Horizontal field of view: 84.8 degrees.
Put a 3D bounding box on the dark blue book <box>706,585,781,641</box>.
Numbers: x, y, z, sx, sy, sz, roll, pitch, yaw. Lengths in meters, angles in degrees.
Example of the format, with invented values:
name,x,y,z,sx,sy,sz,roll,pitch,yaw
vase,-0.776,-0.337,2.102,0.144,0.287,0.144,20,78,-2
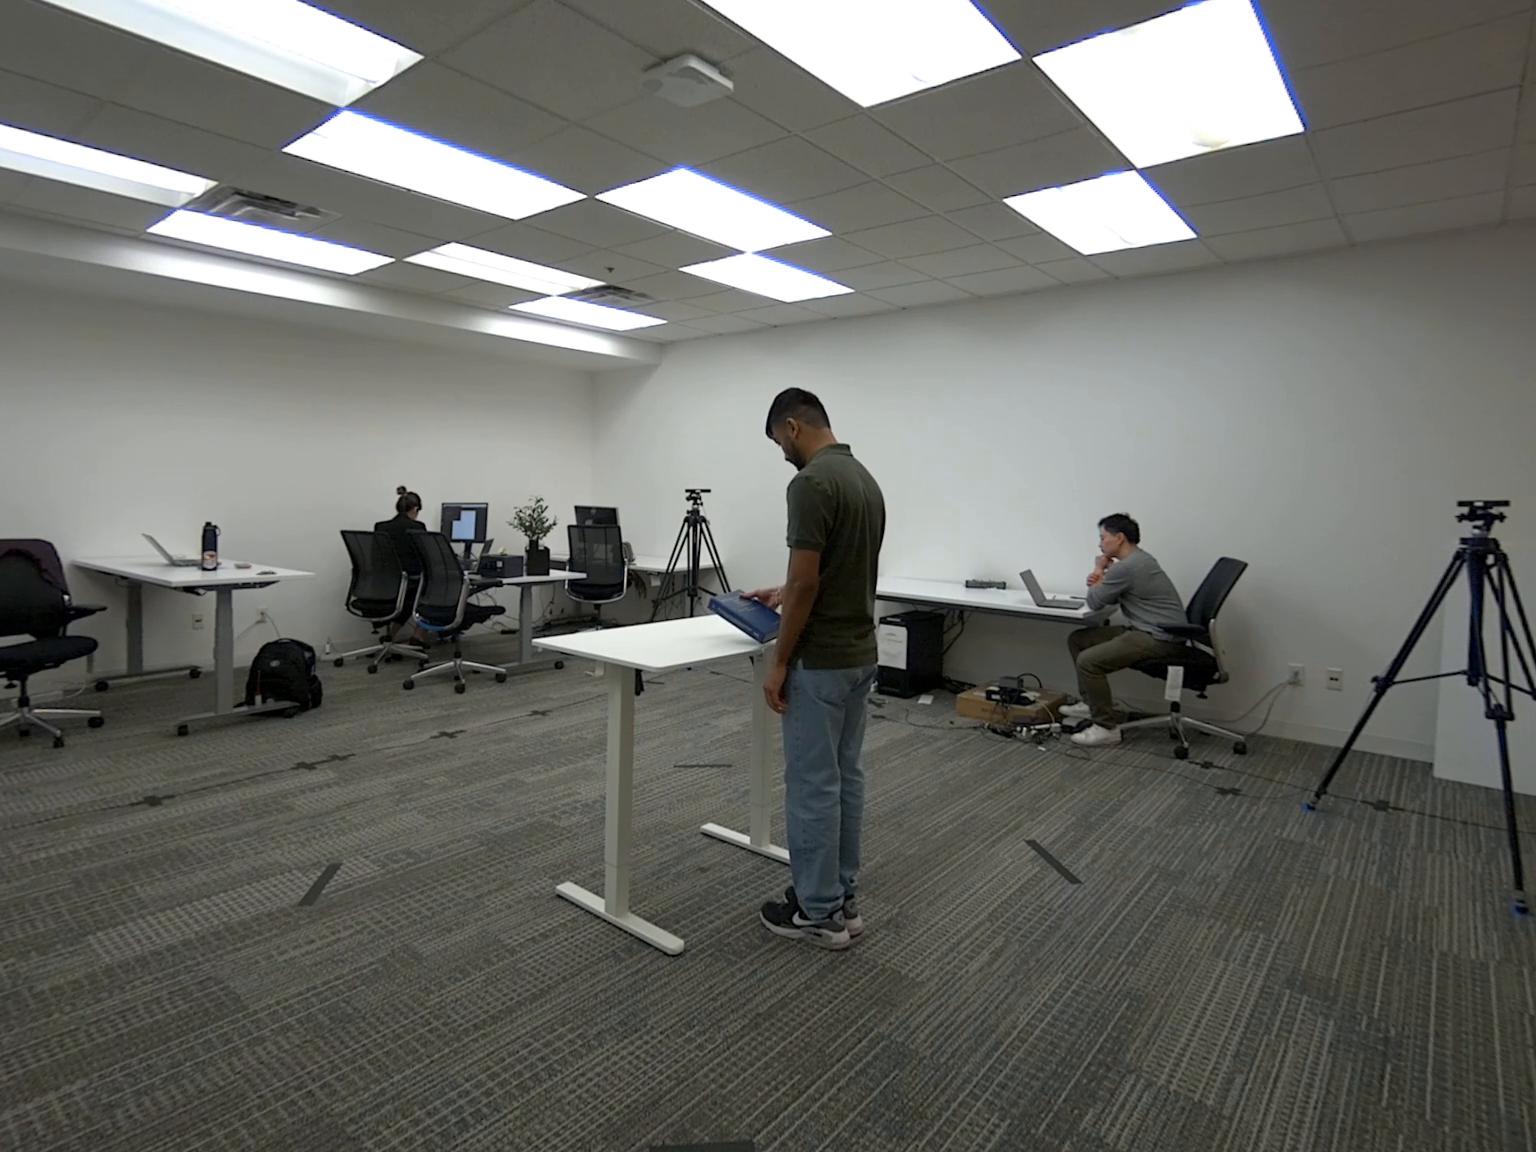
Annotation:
name,x,y,z,sx,sy,sz,roll,pitch,yaw
dark blue book,-0.065,0.122,2.863,0.254,0.044,0.159,31,26,30
